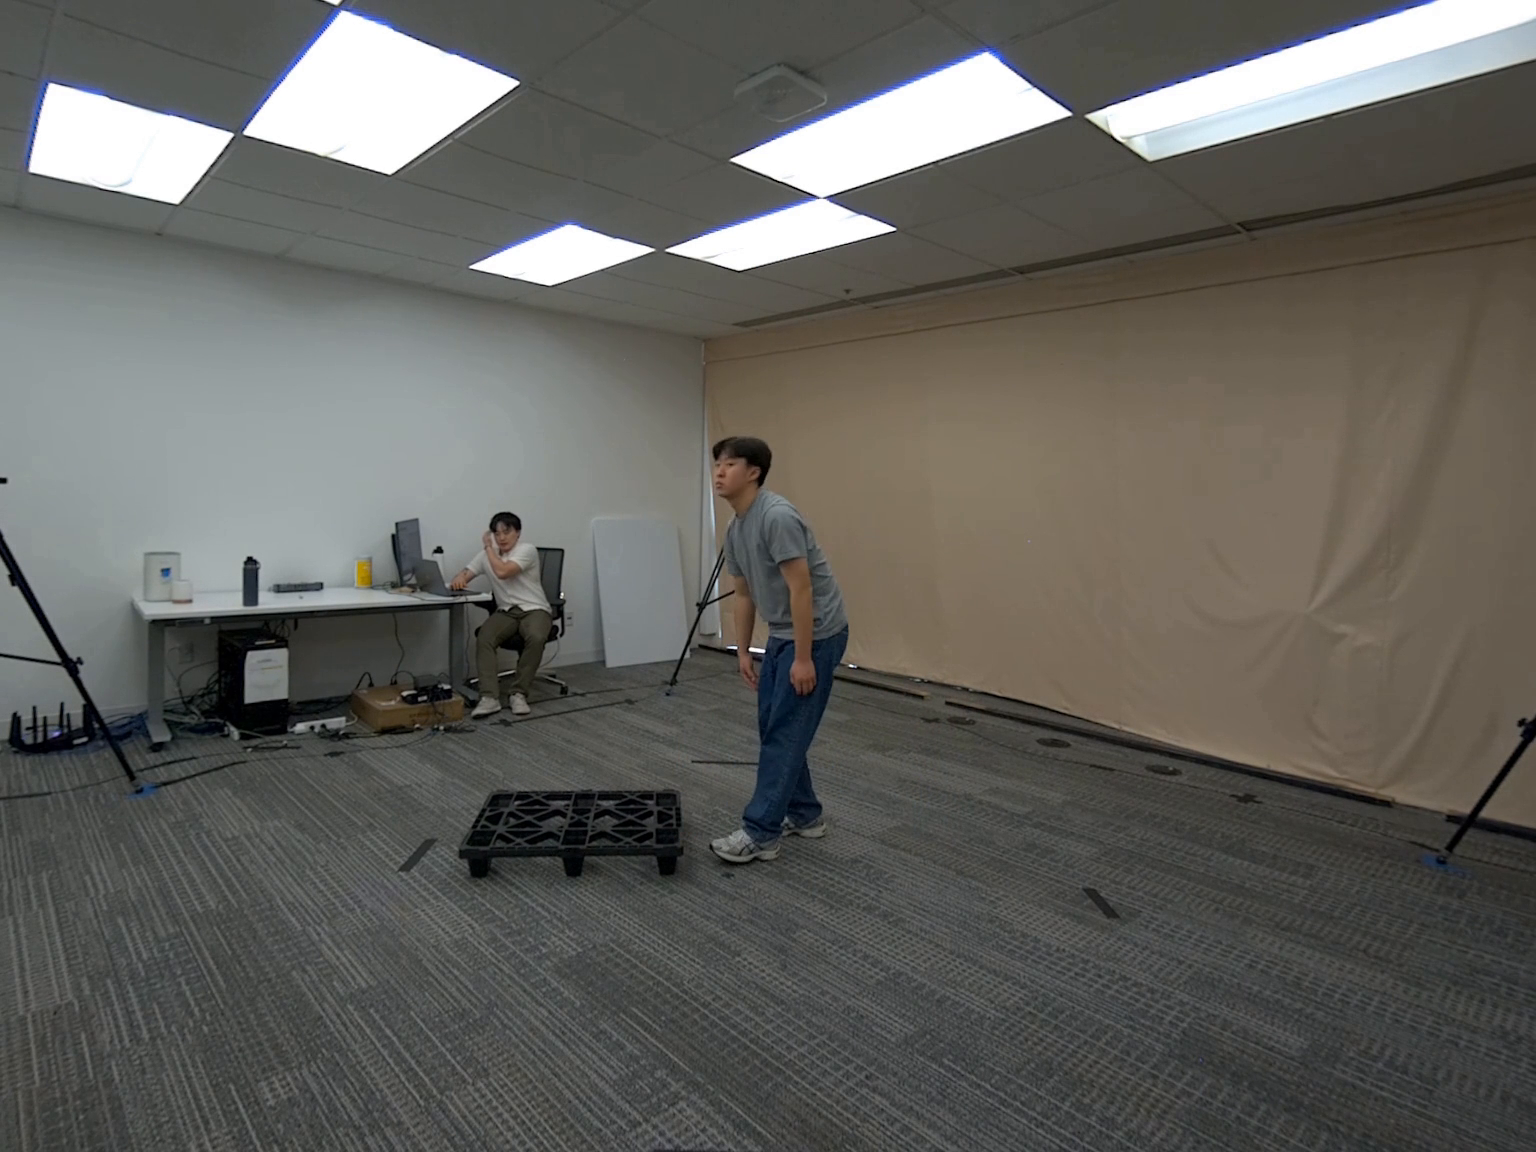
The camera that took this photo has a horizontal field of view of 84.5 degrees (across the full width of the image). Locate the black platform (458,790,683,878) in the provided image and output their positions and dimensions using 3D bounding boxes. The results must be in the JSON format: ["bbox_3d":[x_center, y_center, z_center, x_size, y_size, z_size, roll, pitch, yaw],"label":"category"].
[{"bbox_3d":[-0.742,1.010,3.287,0.802,0.143,0.610,1,6,-6],"label":"black platform"}]
